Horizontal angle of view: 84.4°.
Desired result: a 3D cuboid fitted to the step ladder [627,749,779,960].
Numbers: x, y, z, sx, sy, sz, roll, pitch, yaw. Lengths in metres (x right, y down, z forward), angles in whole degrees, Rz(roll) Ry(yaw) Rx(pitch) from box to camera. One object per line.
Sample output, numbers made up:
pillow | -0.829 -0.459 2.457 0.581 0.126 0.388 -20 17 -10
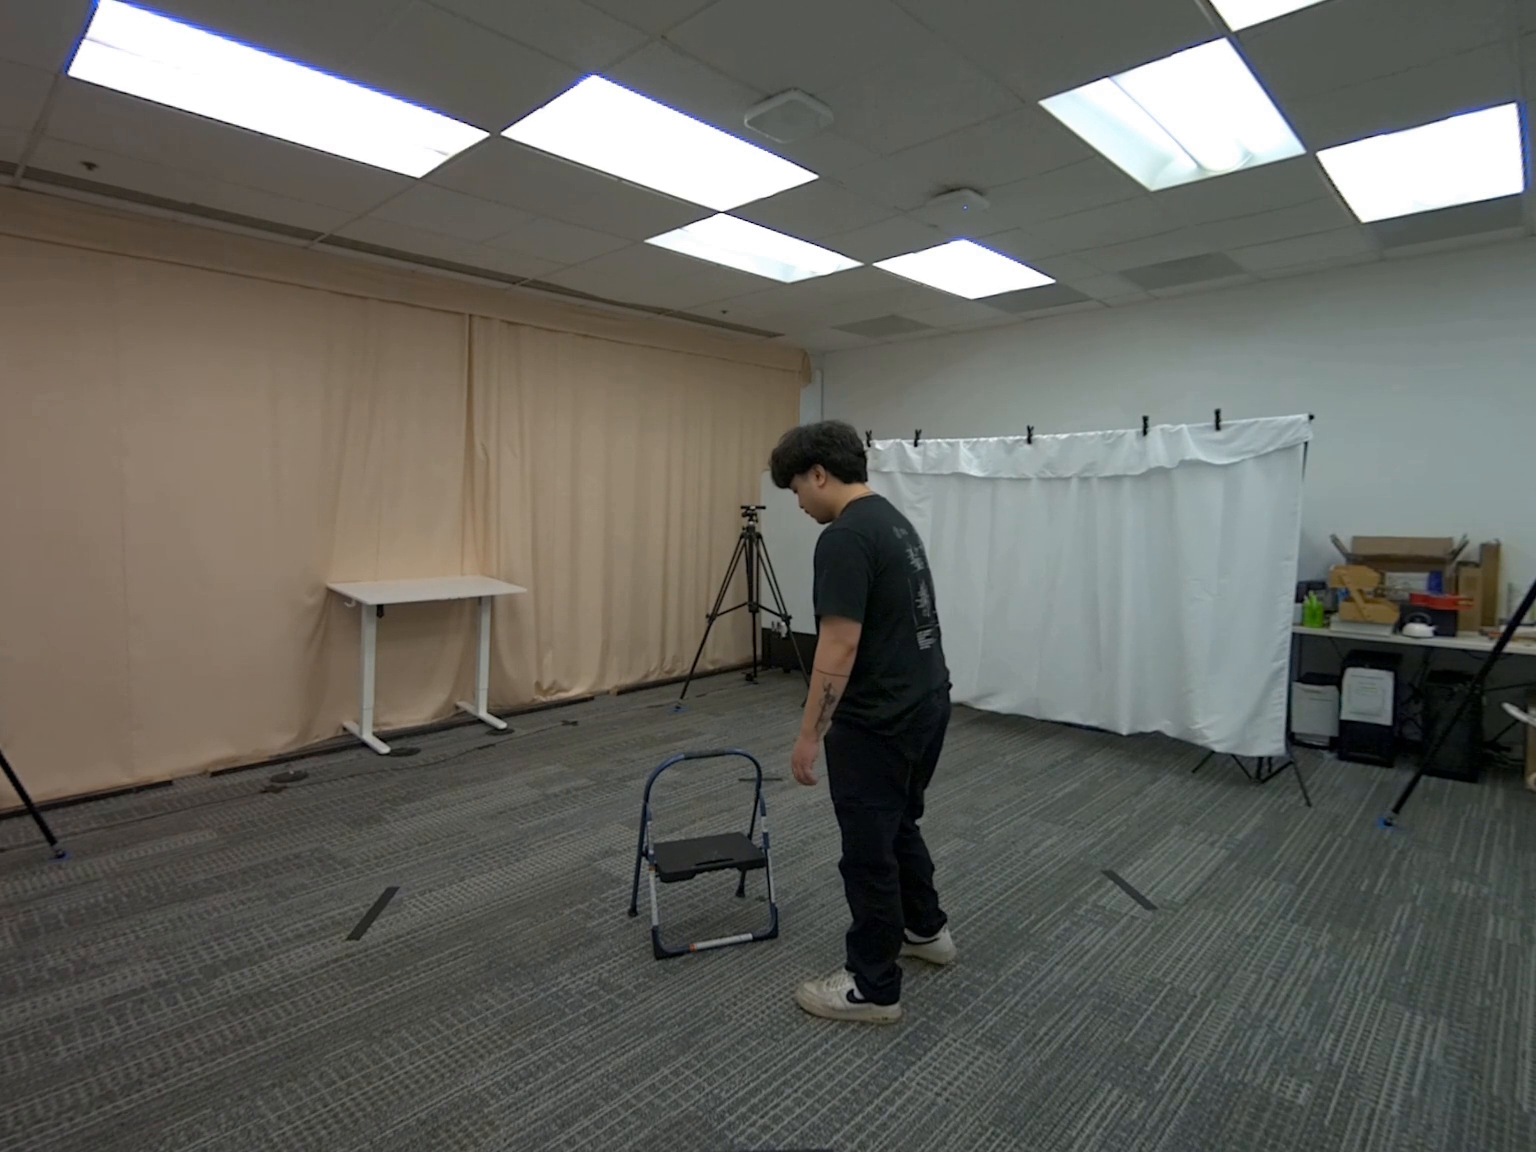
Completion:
step ladder | -0.219 0.857 2.788 0.421 0.605 0.357 -2 3 -22
